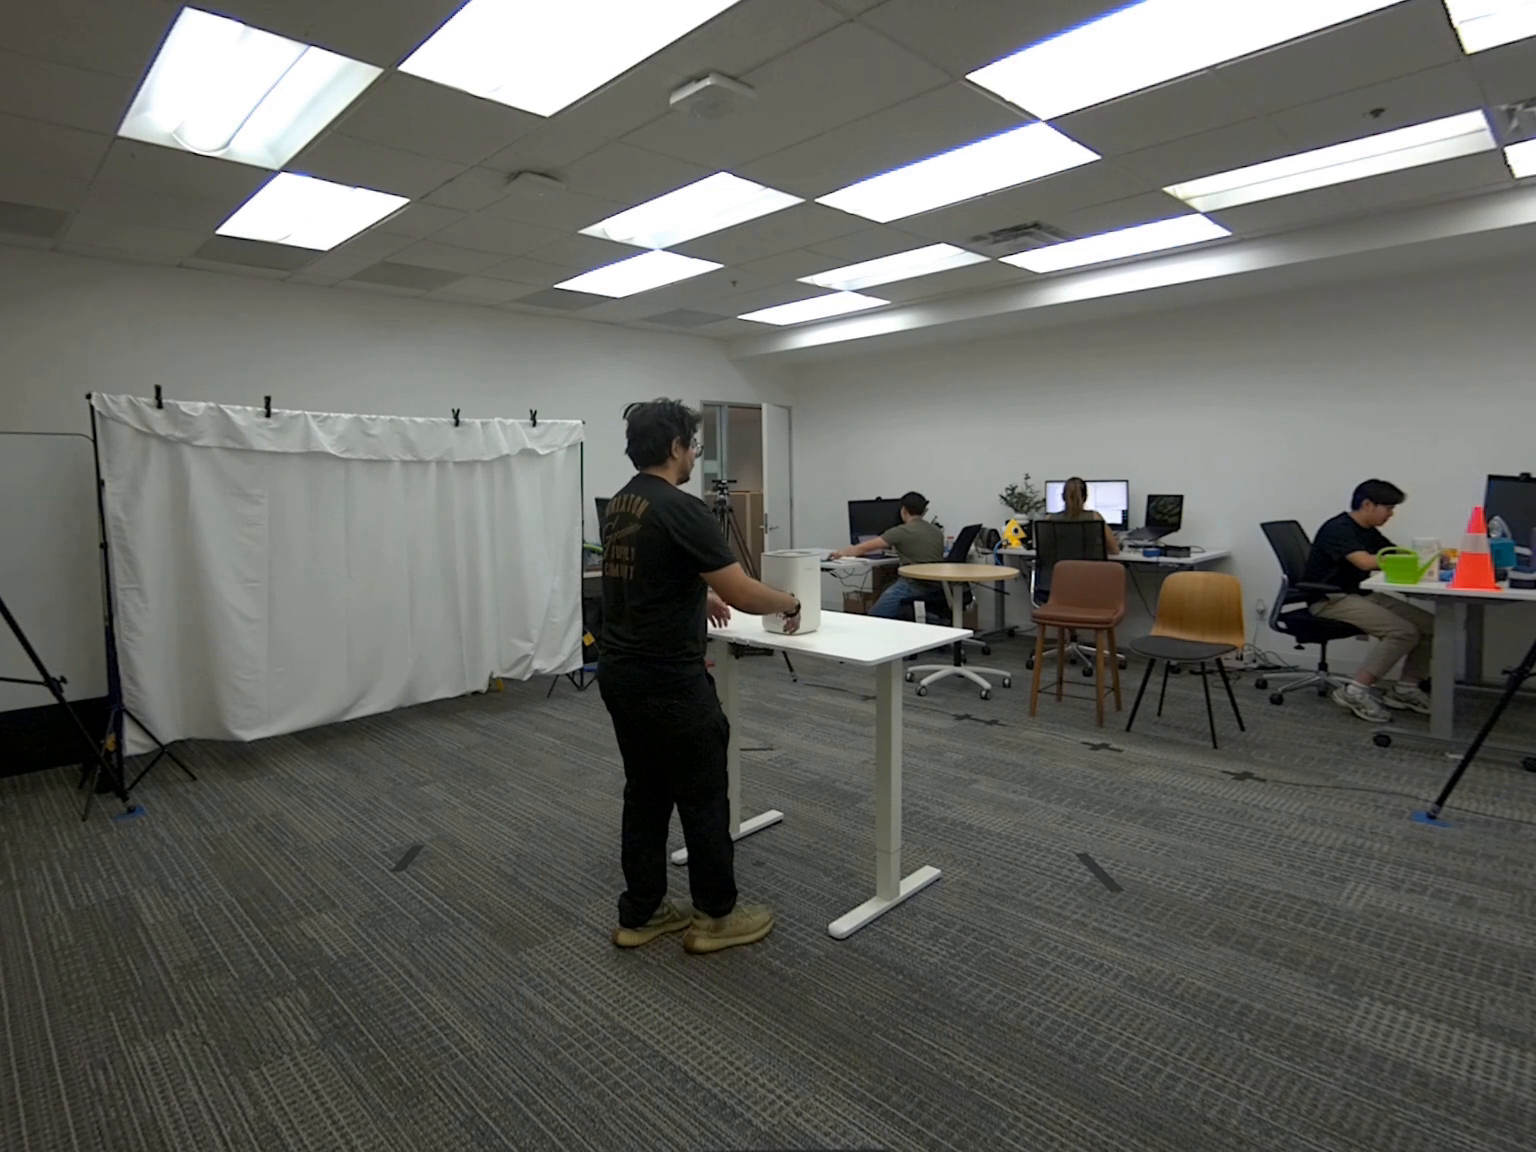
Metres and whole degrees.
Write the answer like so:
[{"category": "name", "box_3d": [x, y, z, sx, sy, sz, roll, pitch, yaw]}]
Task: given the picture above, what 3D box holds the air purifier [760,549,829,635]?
[{"category": "air purifier", "box_3d": [0.088, 0.054, 2.891, 0.177, 0.264, 0.166, 6, 7, 44]}]
